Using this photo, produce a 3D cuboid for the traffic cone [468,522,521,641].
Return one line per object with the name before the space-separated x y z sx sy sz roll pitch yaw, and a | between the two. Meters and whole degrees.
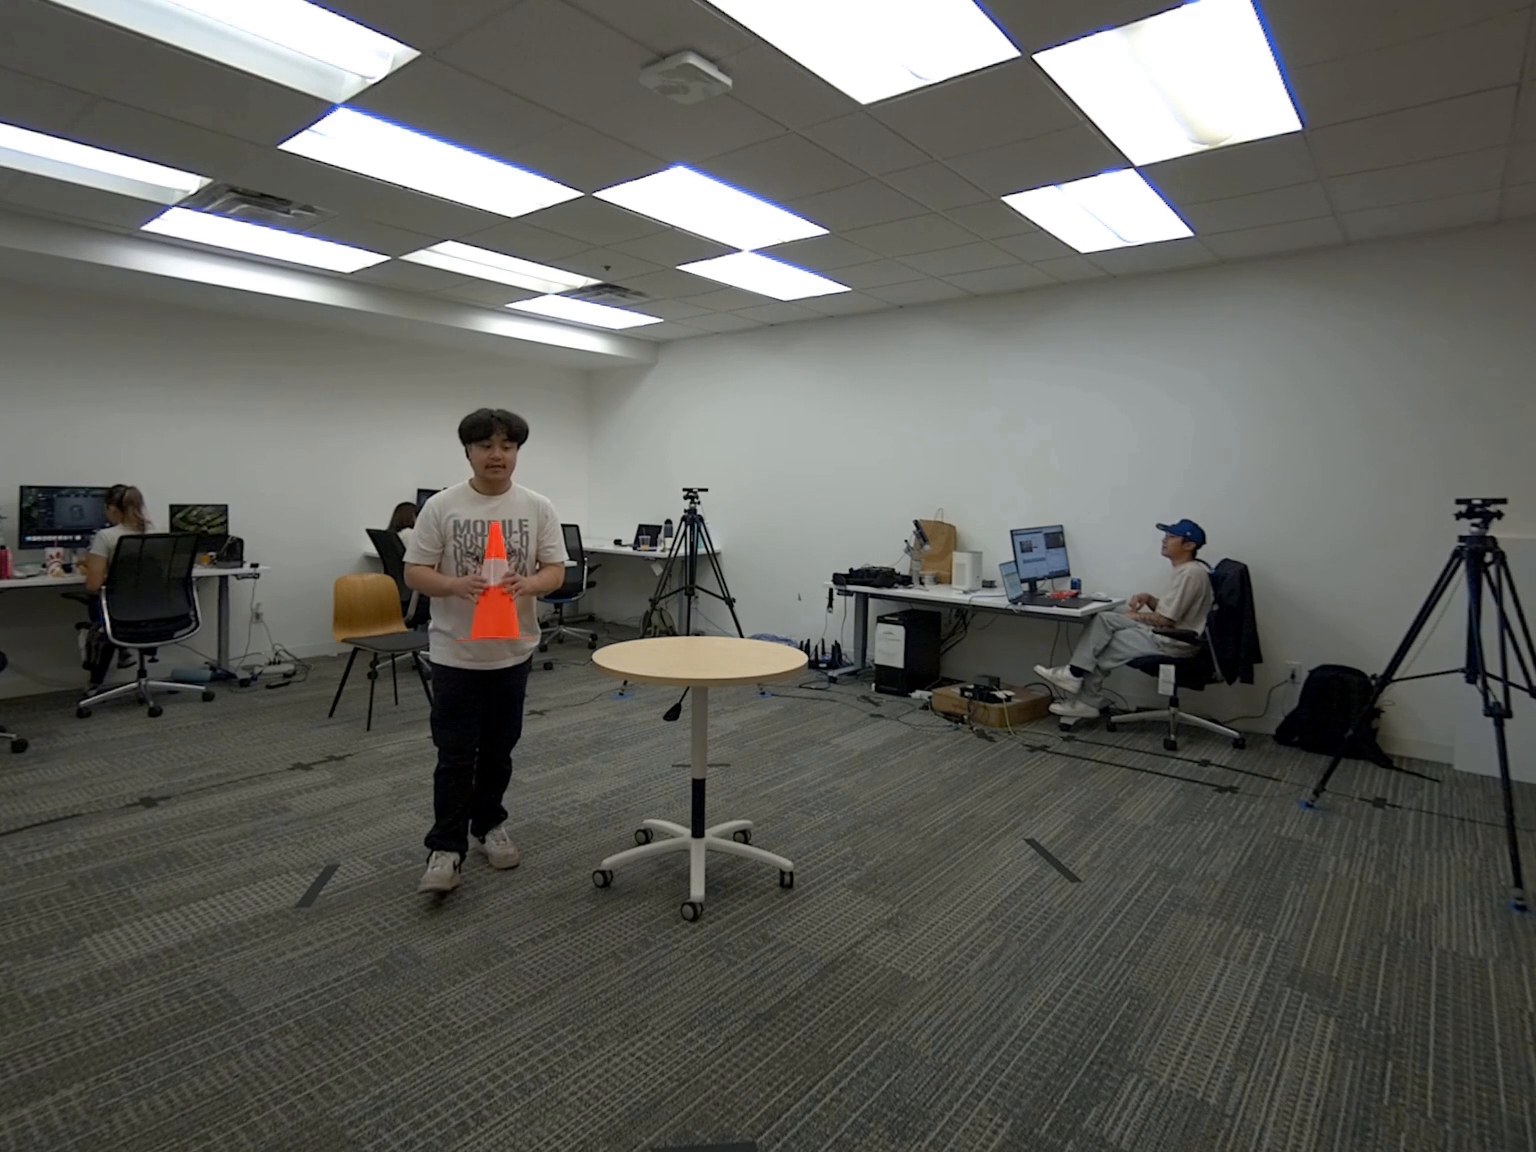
traffic cone | -0.907 0.016 2.770 0.210 0.386 0.197 -5 -6 35
